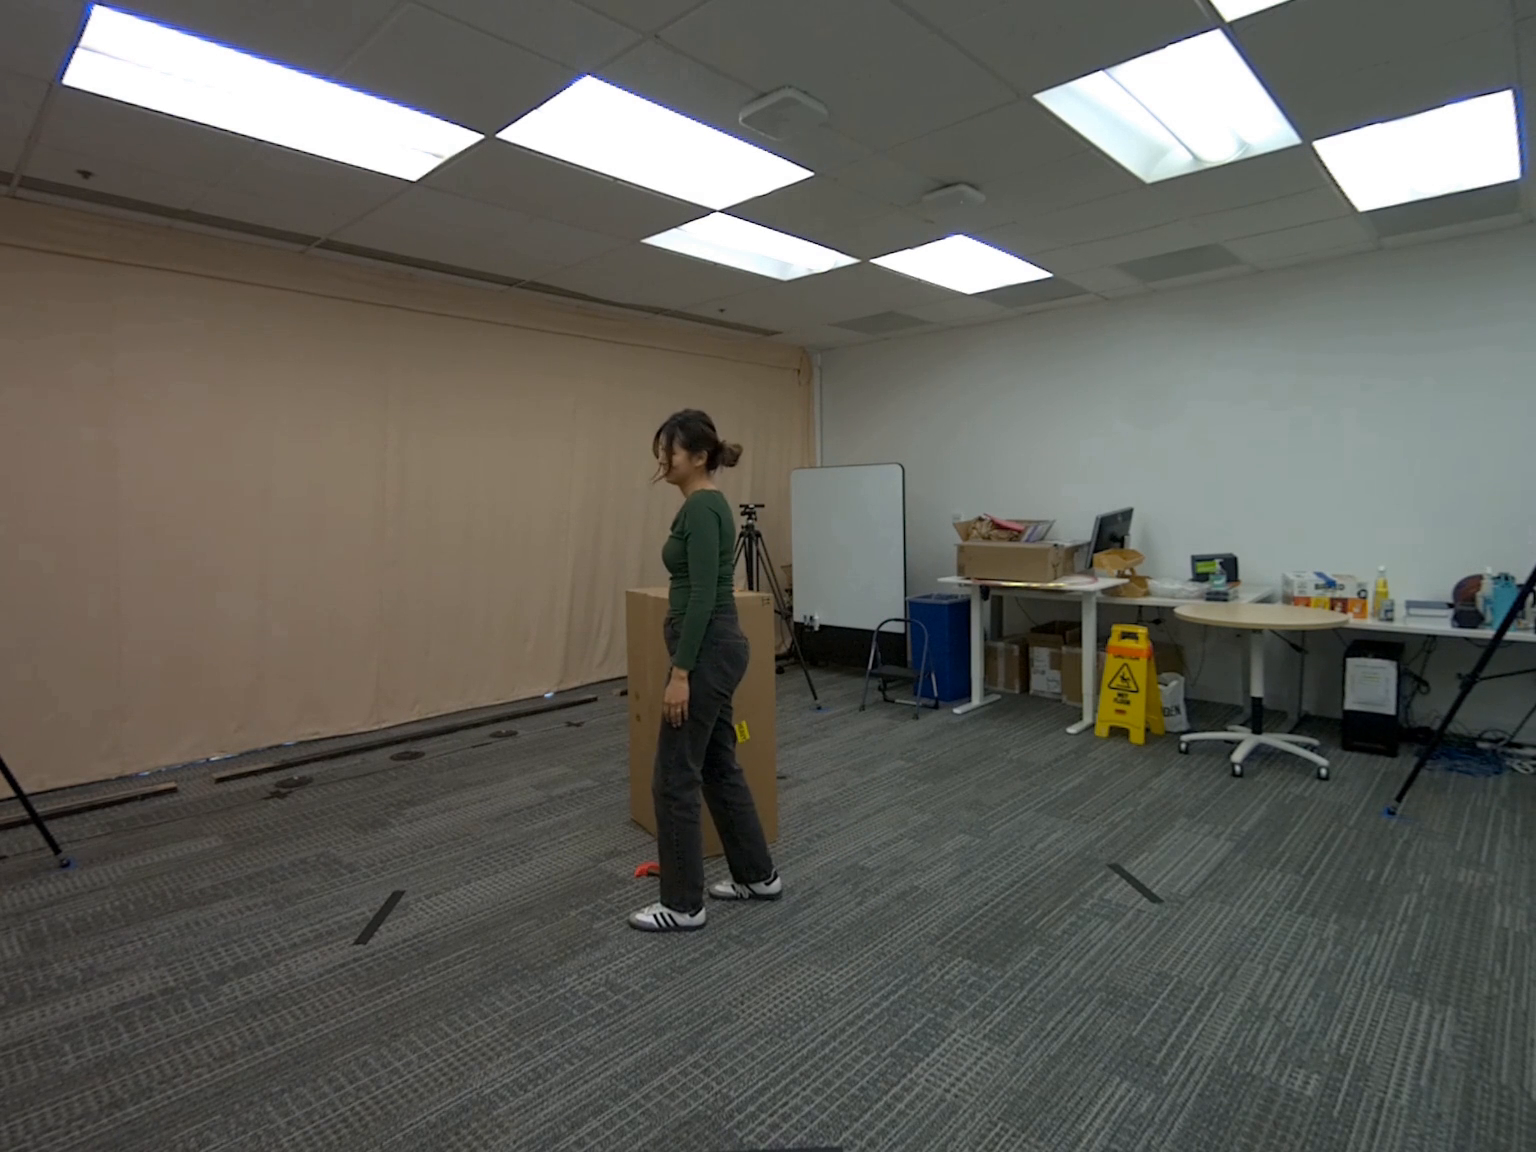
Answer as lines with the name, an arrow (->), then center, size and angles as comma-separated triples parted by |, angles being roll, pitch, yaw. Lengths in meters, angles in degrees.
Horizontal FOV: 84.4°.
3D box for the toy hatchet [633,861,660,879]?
toy hatchet -> -0.367, 1.114, 3.194 | 0.272, 0.029, 0.130 | 2, 3, 6
